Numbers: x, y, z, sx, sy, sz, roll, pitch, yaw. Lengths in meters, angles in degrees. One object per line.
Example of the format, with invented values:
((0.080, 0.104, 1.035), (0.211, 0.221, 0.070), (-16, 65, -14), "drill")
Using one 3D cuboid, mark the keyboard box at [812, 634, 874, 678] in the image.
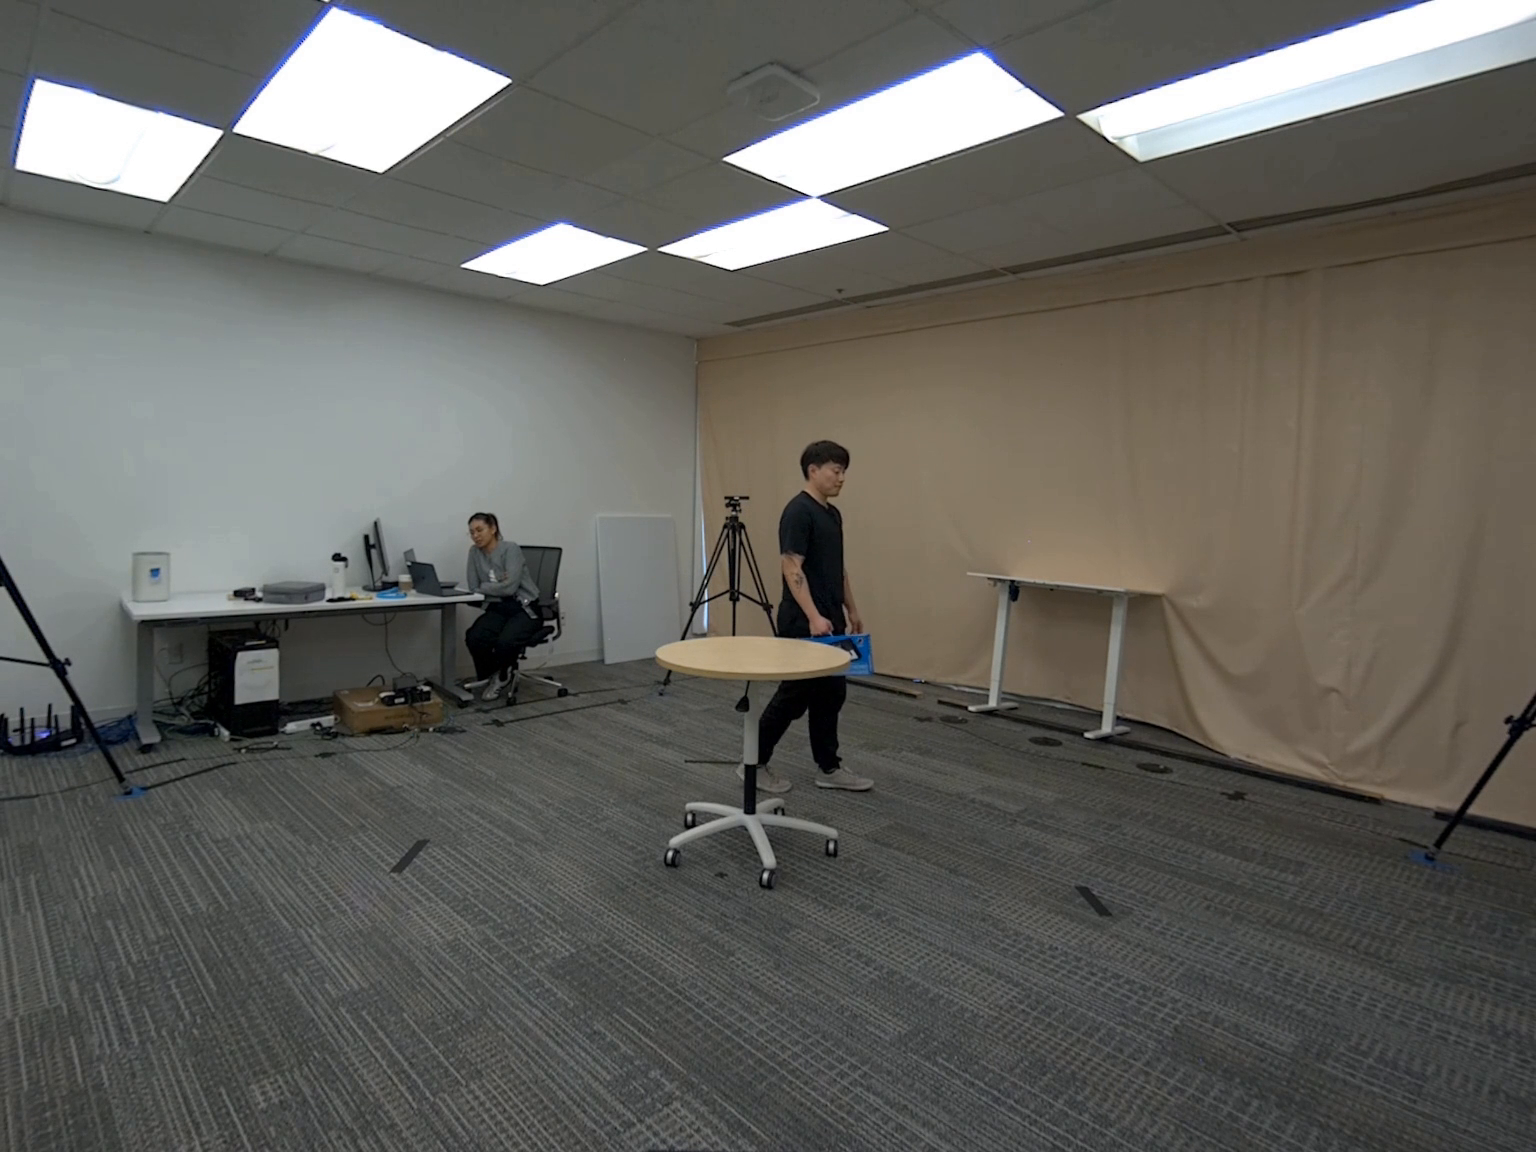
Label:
((0.243, 0.362, 3.750), (0.445, 0.176, 0.058), (-7, -3, 32), "keyboard box")
